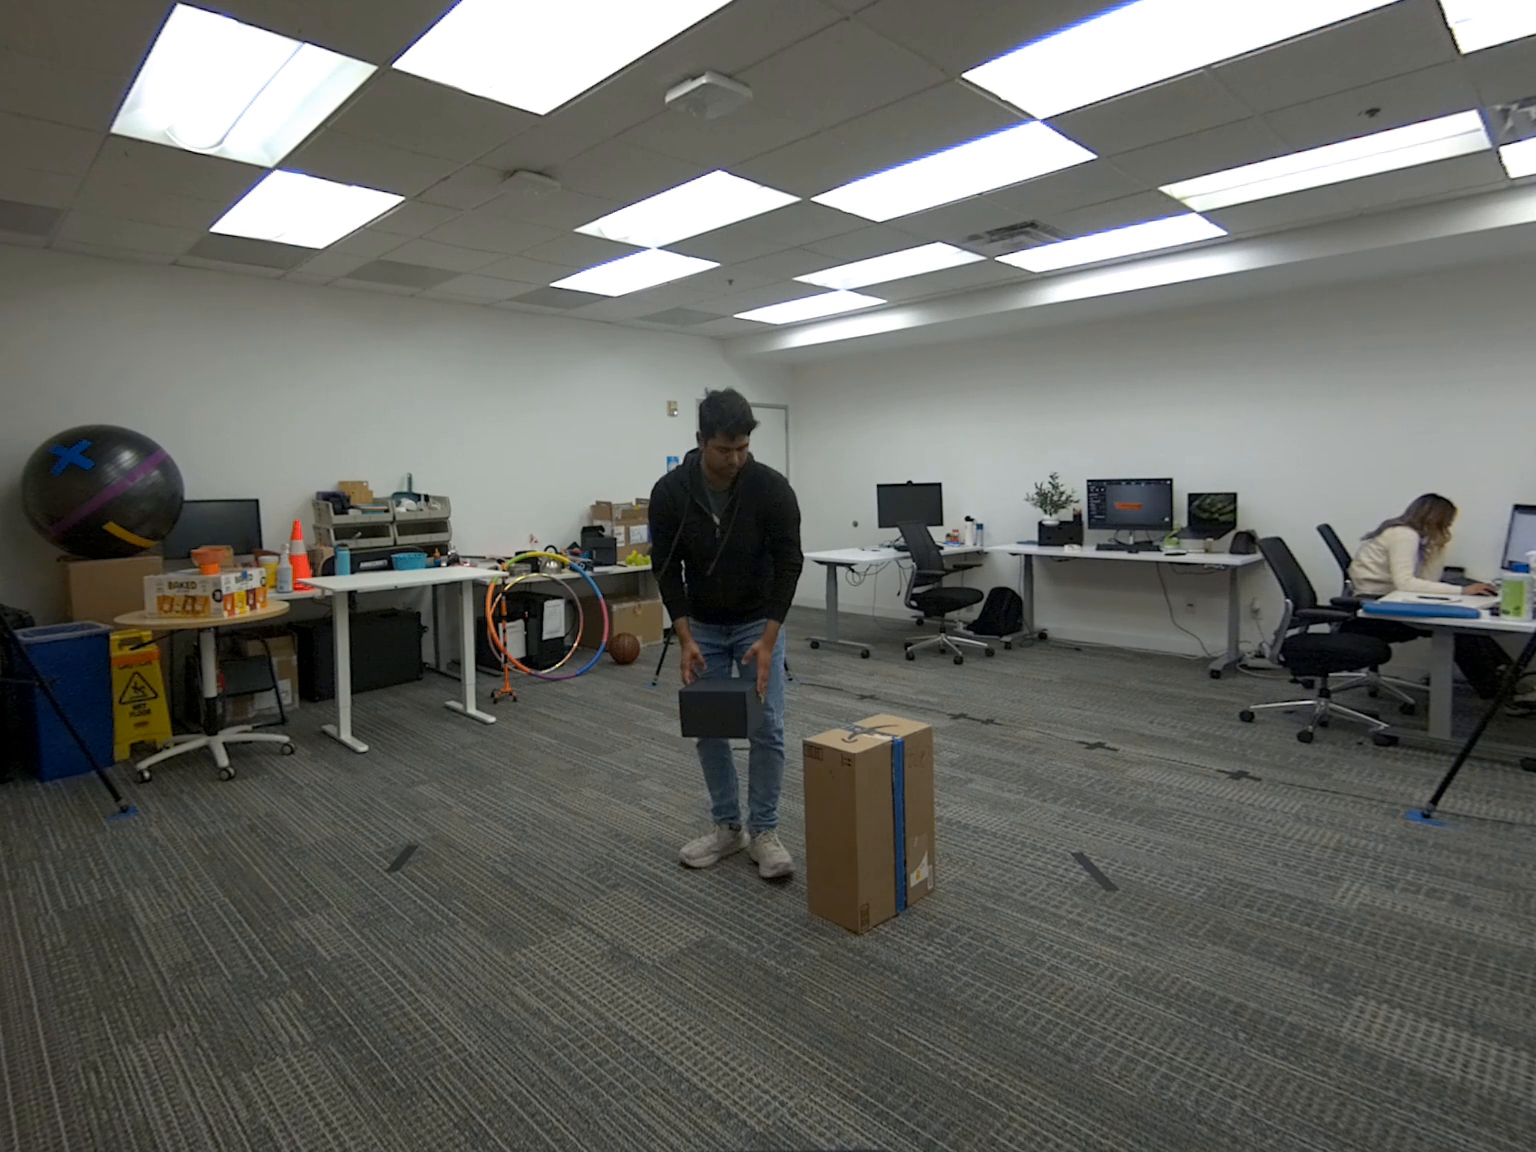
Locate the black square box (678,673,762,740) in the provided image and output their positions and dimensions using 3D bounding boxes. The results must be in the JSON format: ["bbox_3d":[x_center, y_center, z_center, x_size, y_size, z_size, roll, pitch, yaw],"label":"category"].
[{"bbox_3d":[-0.147,0.450,2.857,0.231,0.156,0.214,-2,2,15],"label":"black square box"}]
